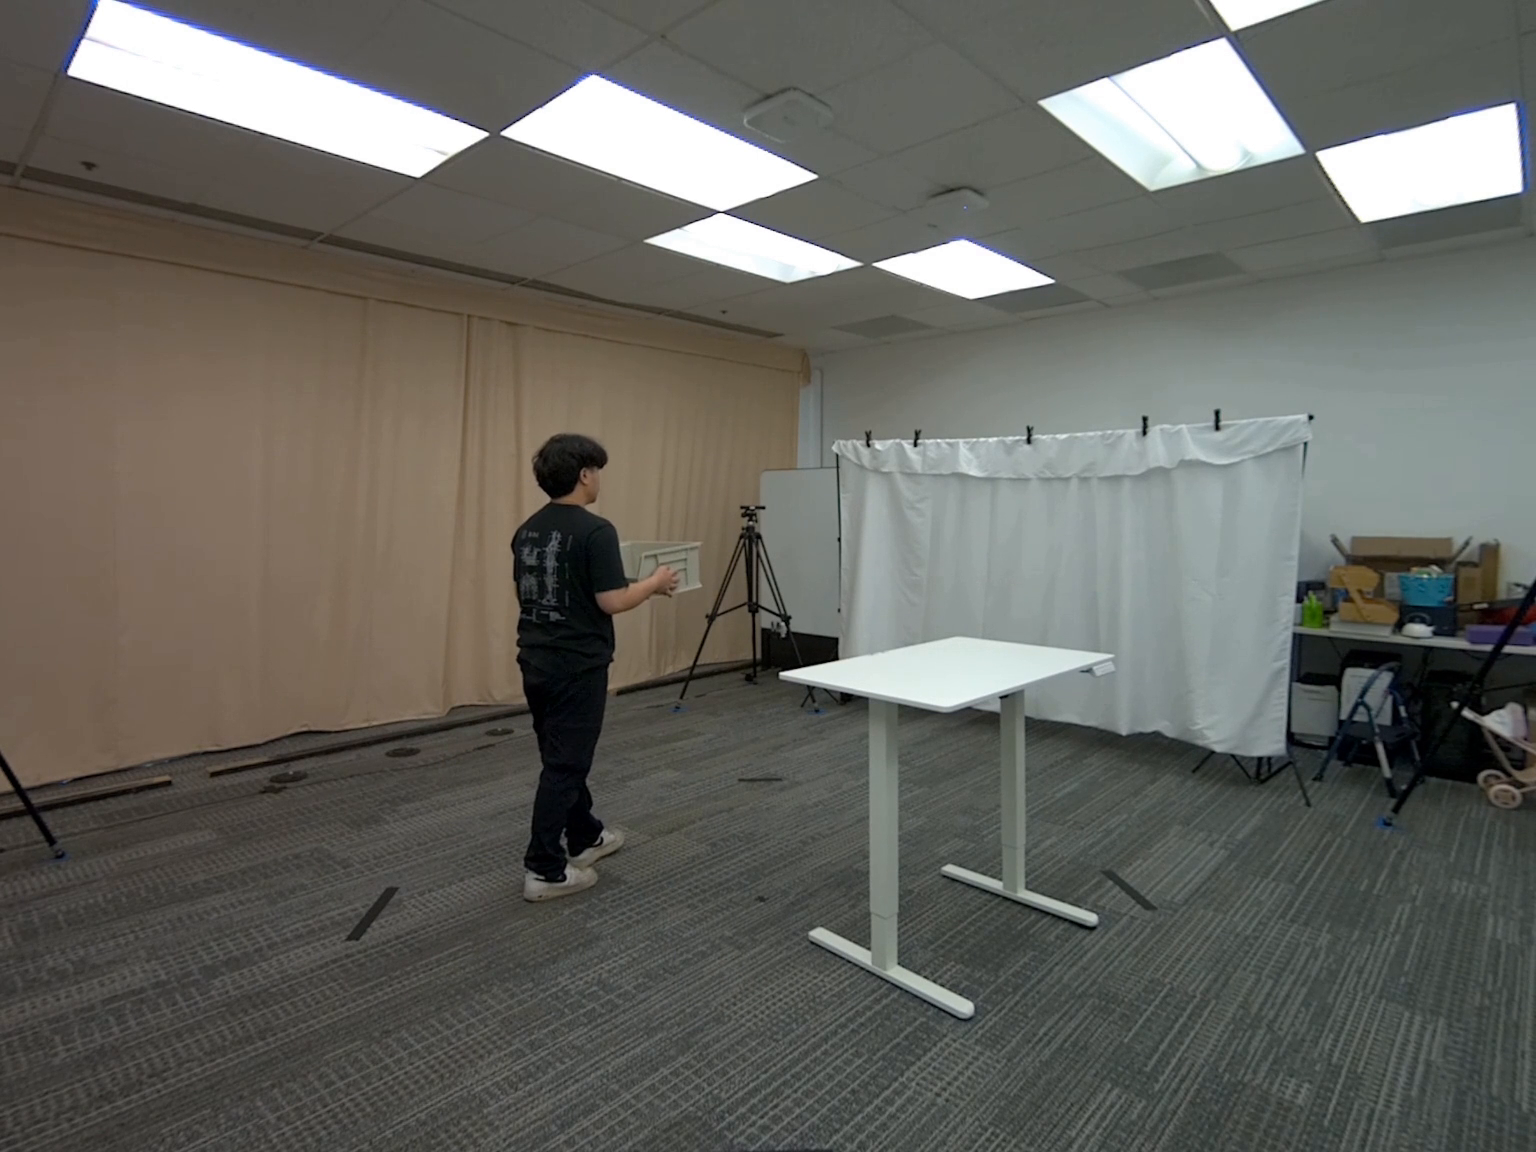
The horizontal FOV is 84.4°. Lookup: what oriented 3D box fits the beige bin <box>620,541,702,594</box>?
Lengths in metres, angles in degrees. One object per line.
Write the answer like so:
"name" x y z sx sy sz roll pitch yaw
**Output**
"beige bin" -0.534 -0.029 3.378 0.436 0.188 0.367 2 8 37
